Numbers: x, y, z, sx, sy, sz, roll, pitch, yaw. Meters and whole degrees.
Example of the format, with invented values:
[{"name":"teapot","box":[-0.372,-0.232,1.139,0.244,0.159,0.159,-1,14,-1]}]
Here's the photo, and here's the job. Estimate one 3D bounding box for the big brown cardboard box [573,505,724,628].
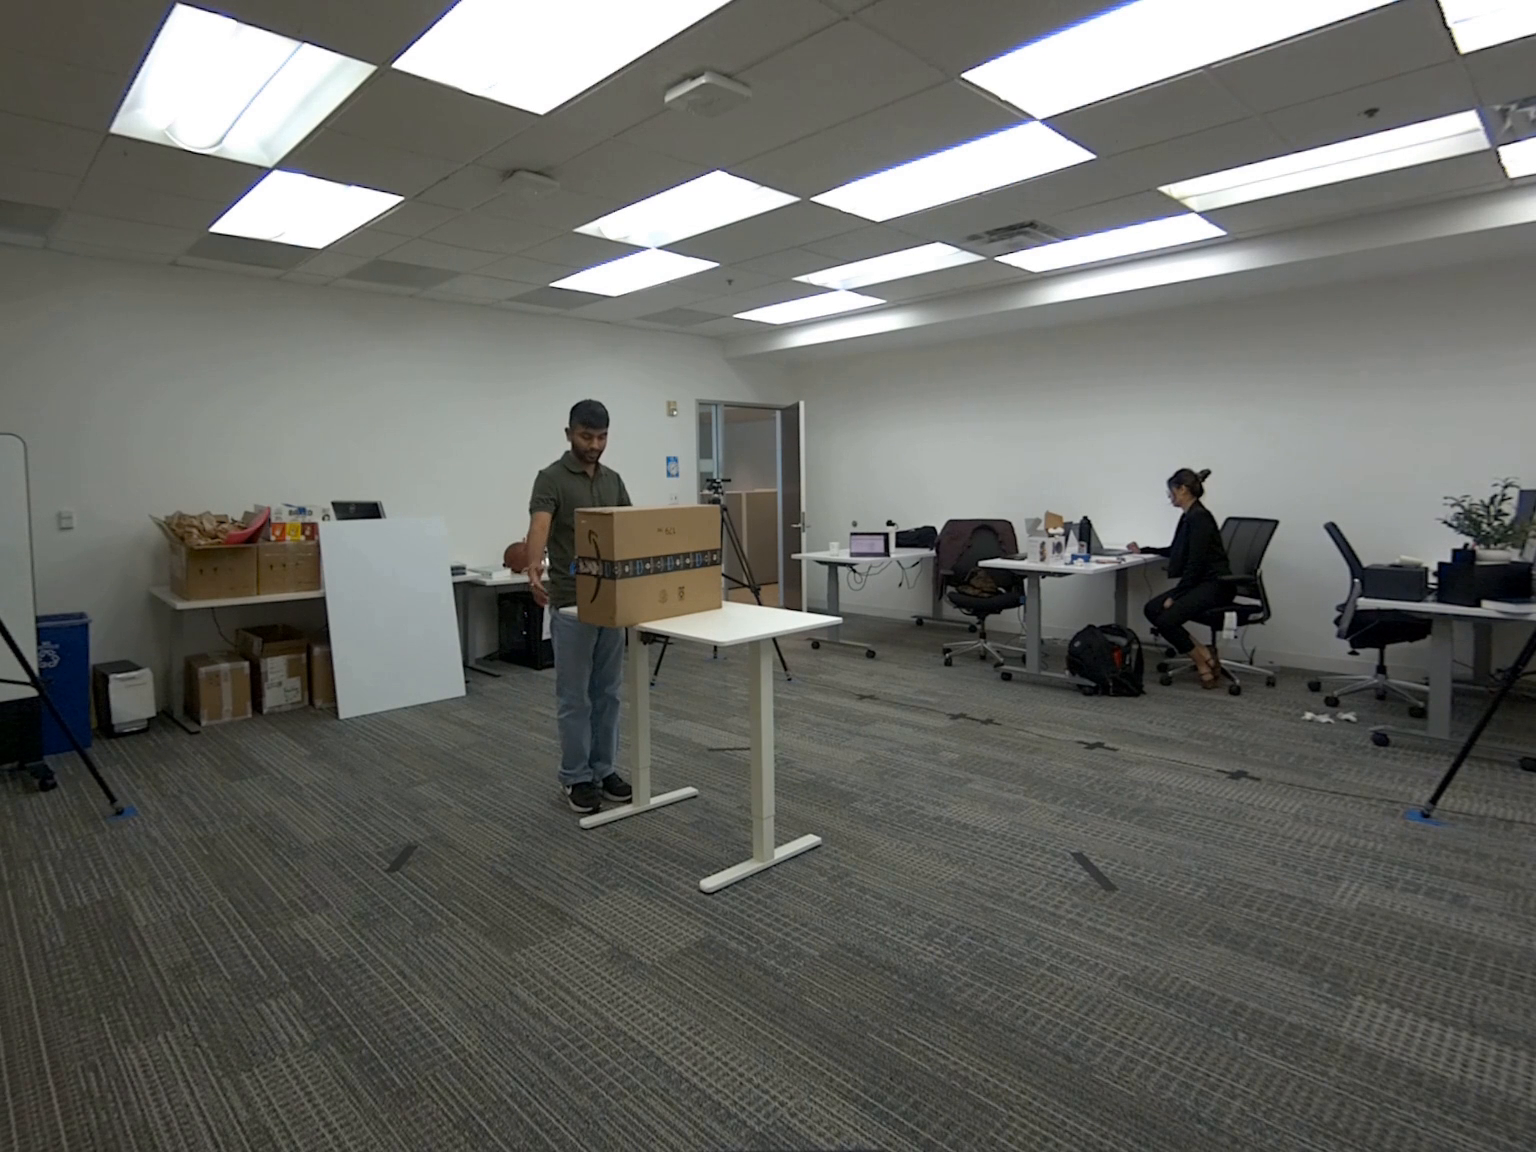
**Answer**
[{"name":"big brown cardboard box","box":[-0.450,-0.053,3.267,0.240,0.416,0.574,4,7,41]}]
